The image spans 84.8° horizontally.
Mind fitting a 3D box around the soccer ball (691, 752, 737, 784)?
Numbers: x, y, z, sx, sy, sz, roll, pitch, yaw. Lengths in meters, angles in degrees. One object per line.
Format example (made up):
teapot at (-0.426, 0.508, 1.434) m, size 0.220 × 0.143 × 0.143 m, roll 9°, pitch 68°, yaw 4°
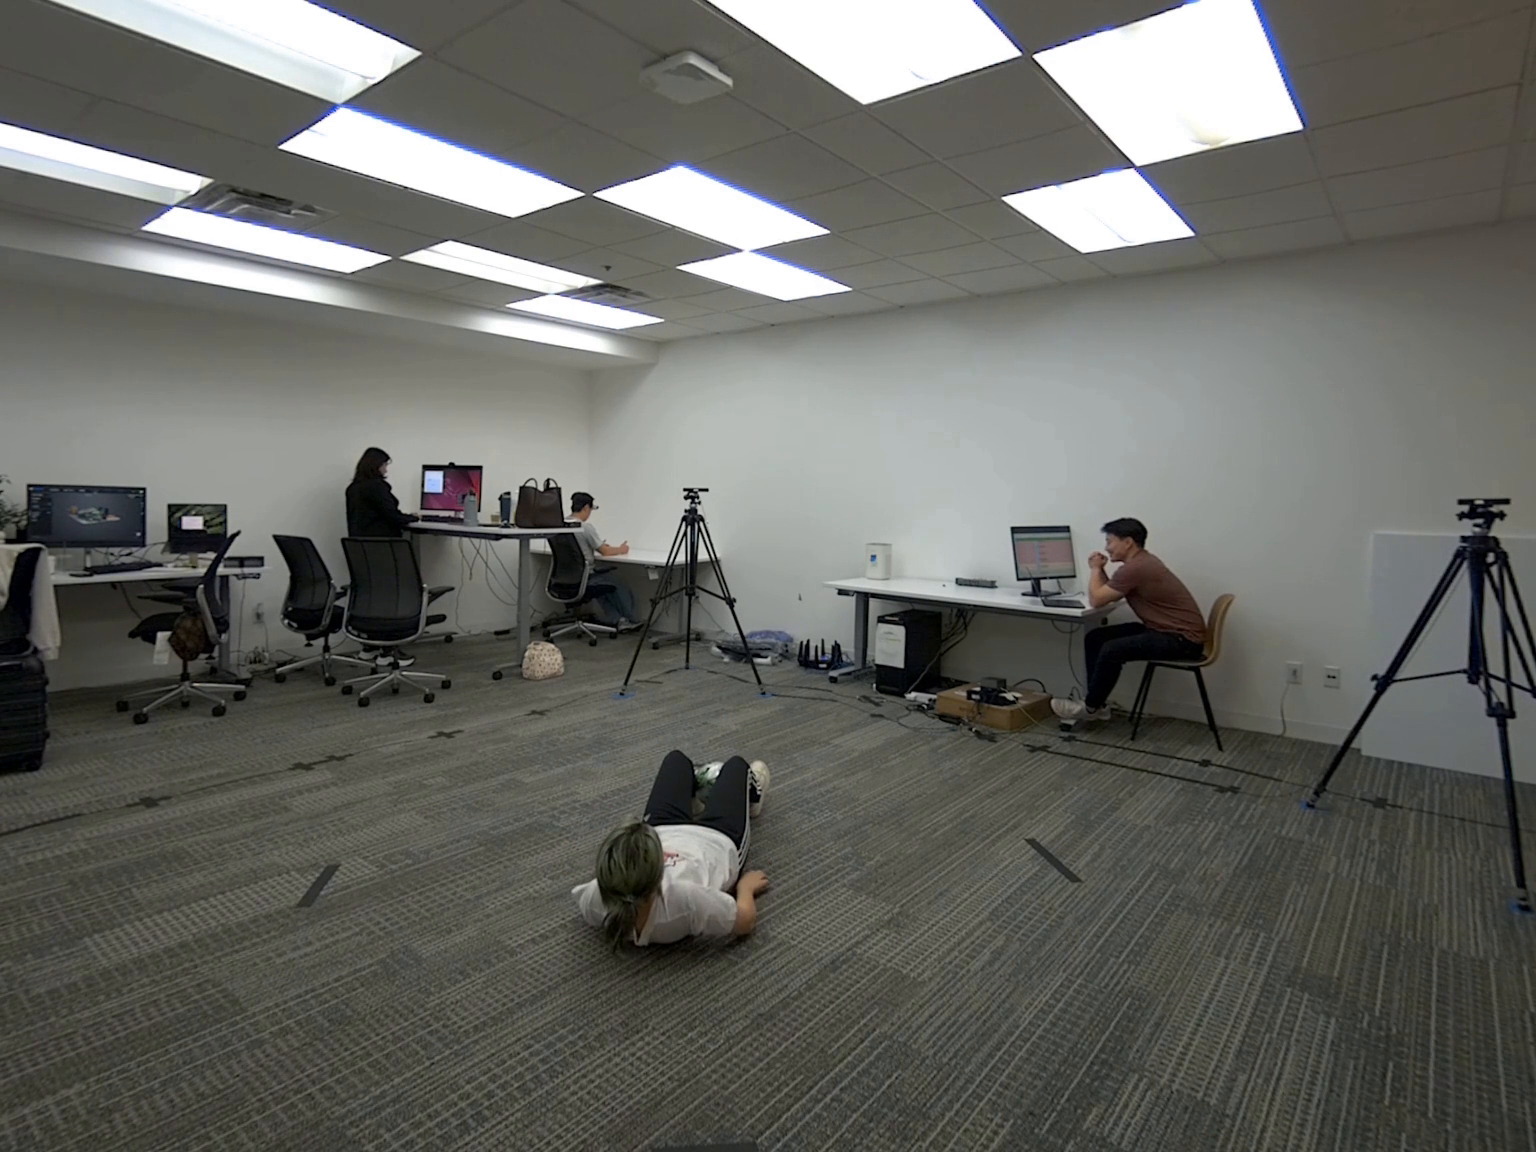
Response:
soccer ball at (-0.228, 0.864, 3.532) m, size 0.187 × 0.187 × 0.188 m, roll 1°, pitch 4°, yaw -2°
